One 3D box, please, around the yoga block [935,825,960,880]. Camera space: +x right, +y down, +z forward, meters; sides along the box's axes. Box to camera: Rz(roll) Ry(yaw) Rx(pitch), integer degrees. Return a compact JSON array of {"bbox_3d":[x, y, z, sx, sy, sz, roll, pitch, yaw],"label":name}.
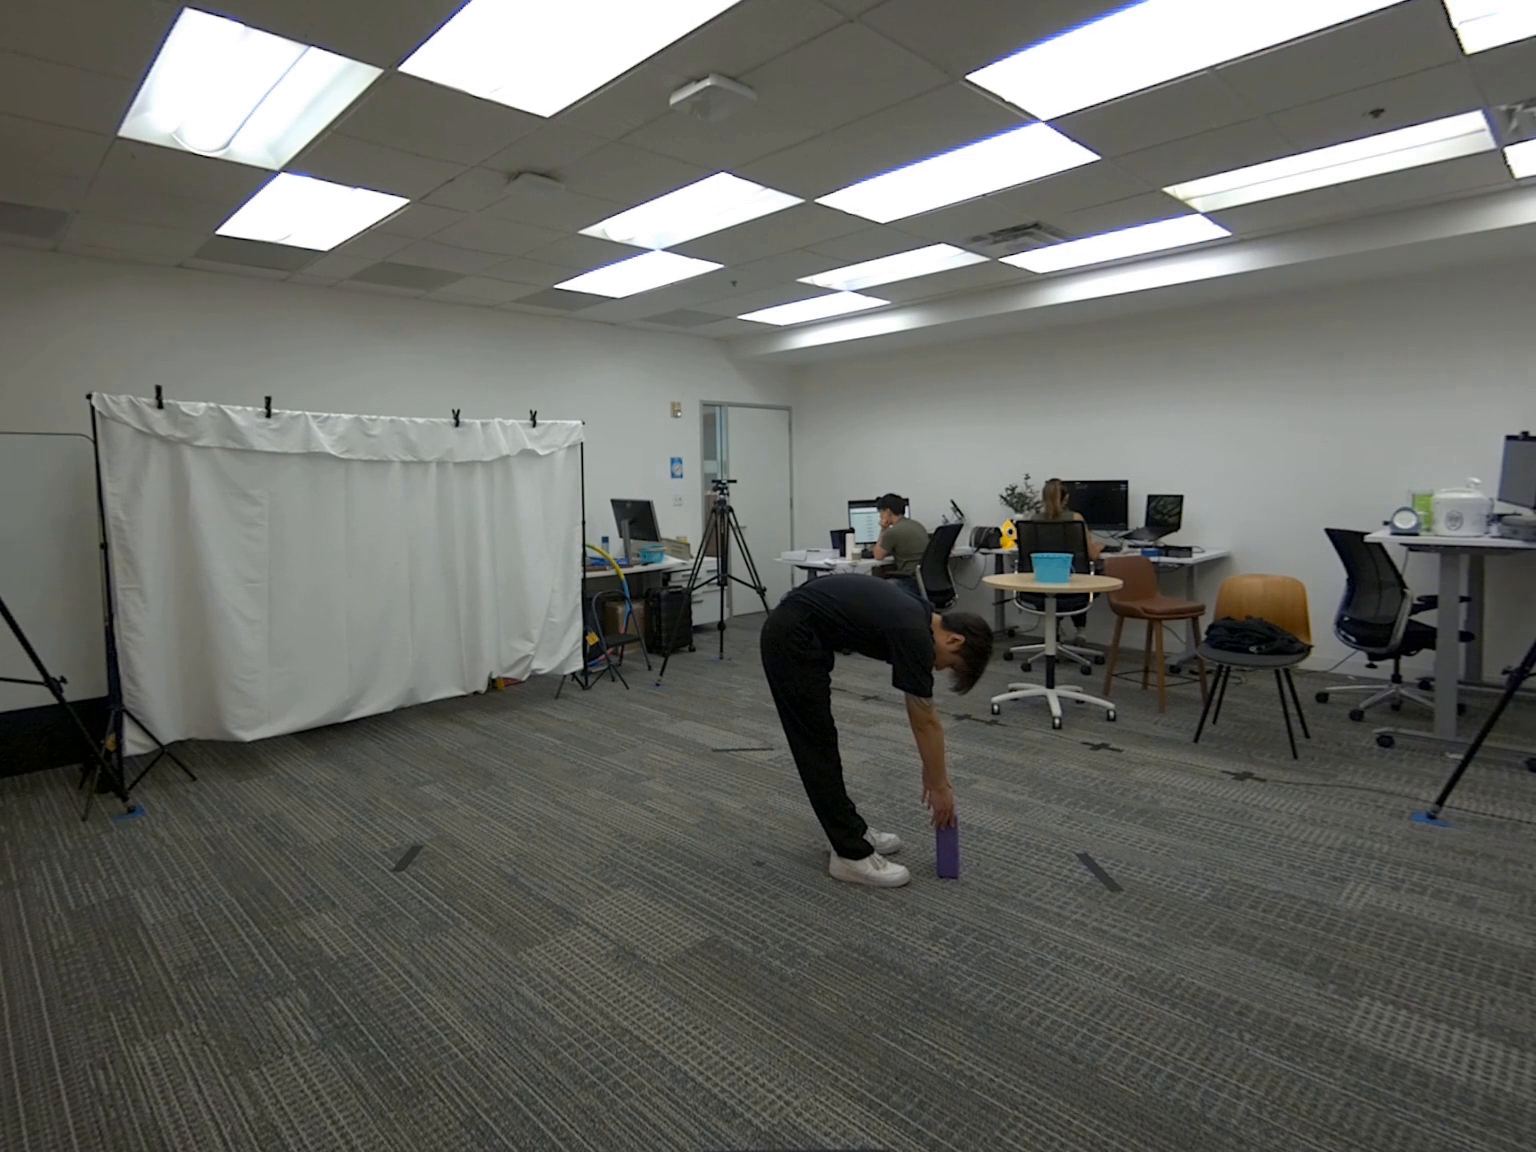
[{"bbox_3d":[0.632,0.925,3.025,0.077,0.228,0.148,0,5,9],"label":"yoga block"}]
